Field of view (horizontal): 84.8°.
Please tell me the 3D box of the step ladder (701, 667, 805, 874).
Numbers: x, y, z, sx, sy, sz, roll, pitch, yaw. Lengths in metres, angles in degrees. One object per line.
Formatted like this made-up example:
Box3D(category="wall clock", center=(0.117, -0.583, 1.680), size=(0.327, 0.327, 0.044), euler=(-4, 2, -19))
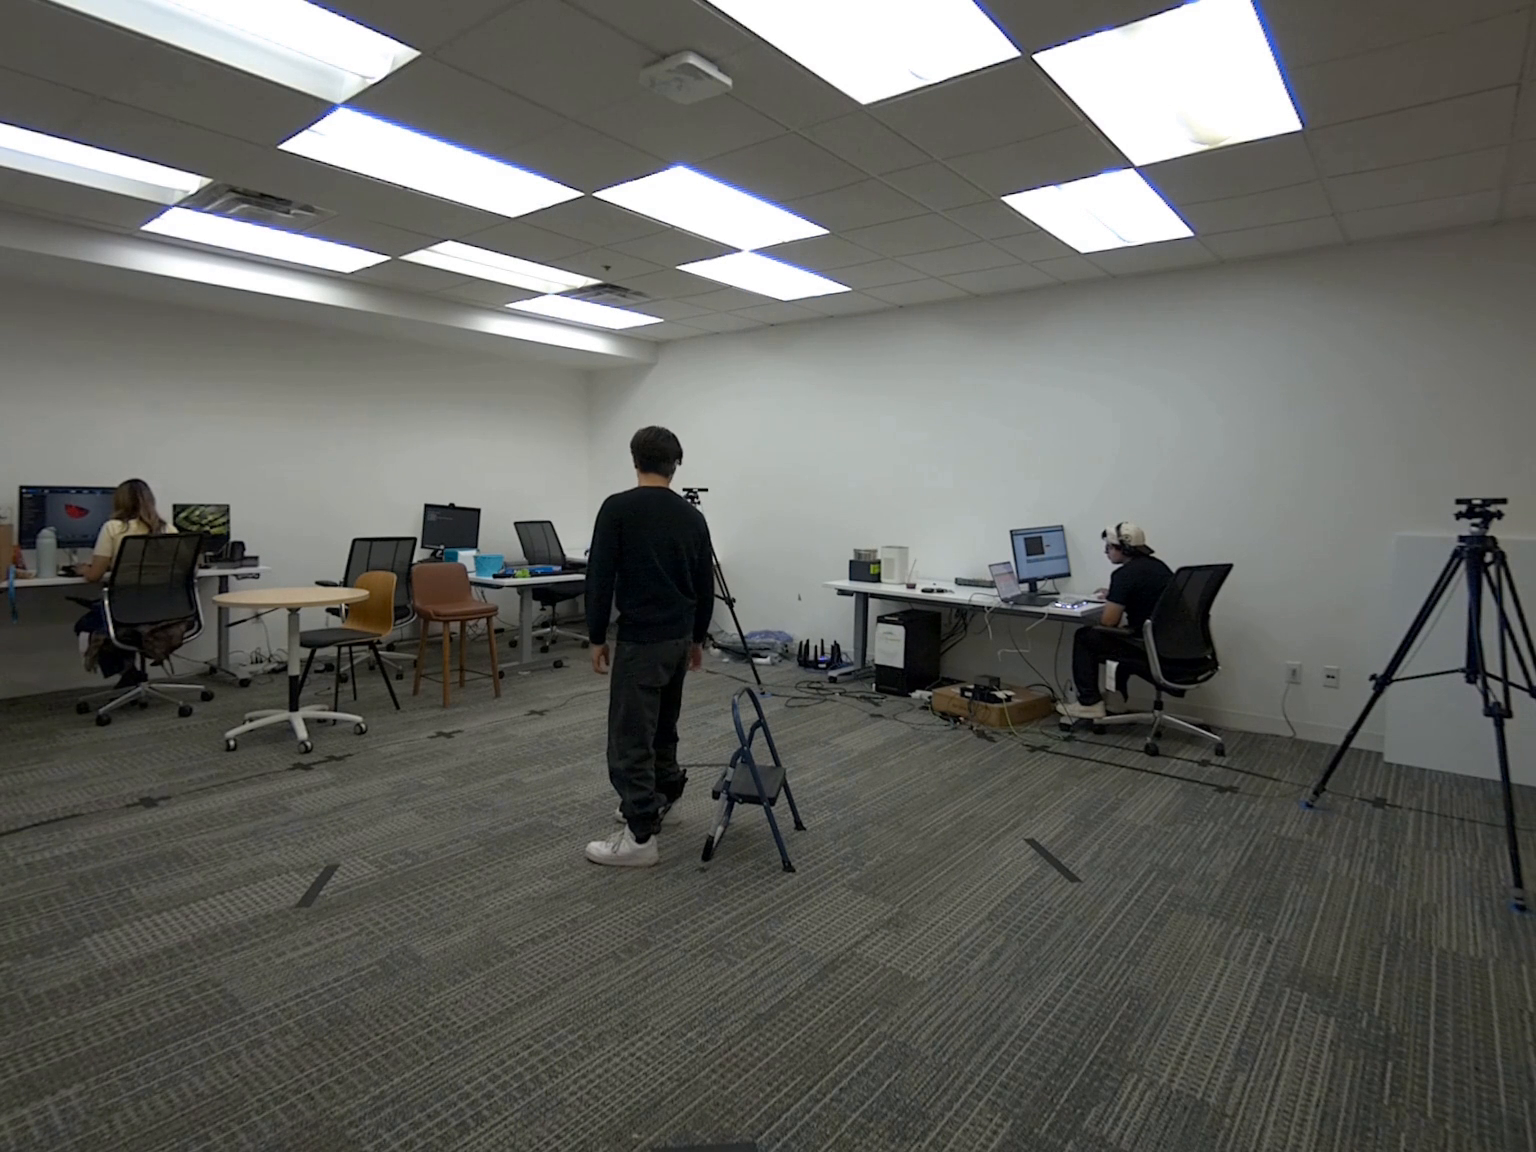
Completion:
Box3D(category="step ladder", center=(-0.045, 0.751, 3.323), size=(0.354, 0.604, 0.427), euler=(3, 4, 10))
